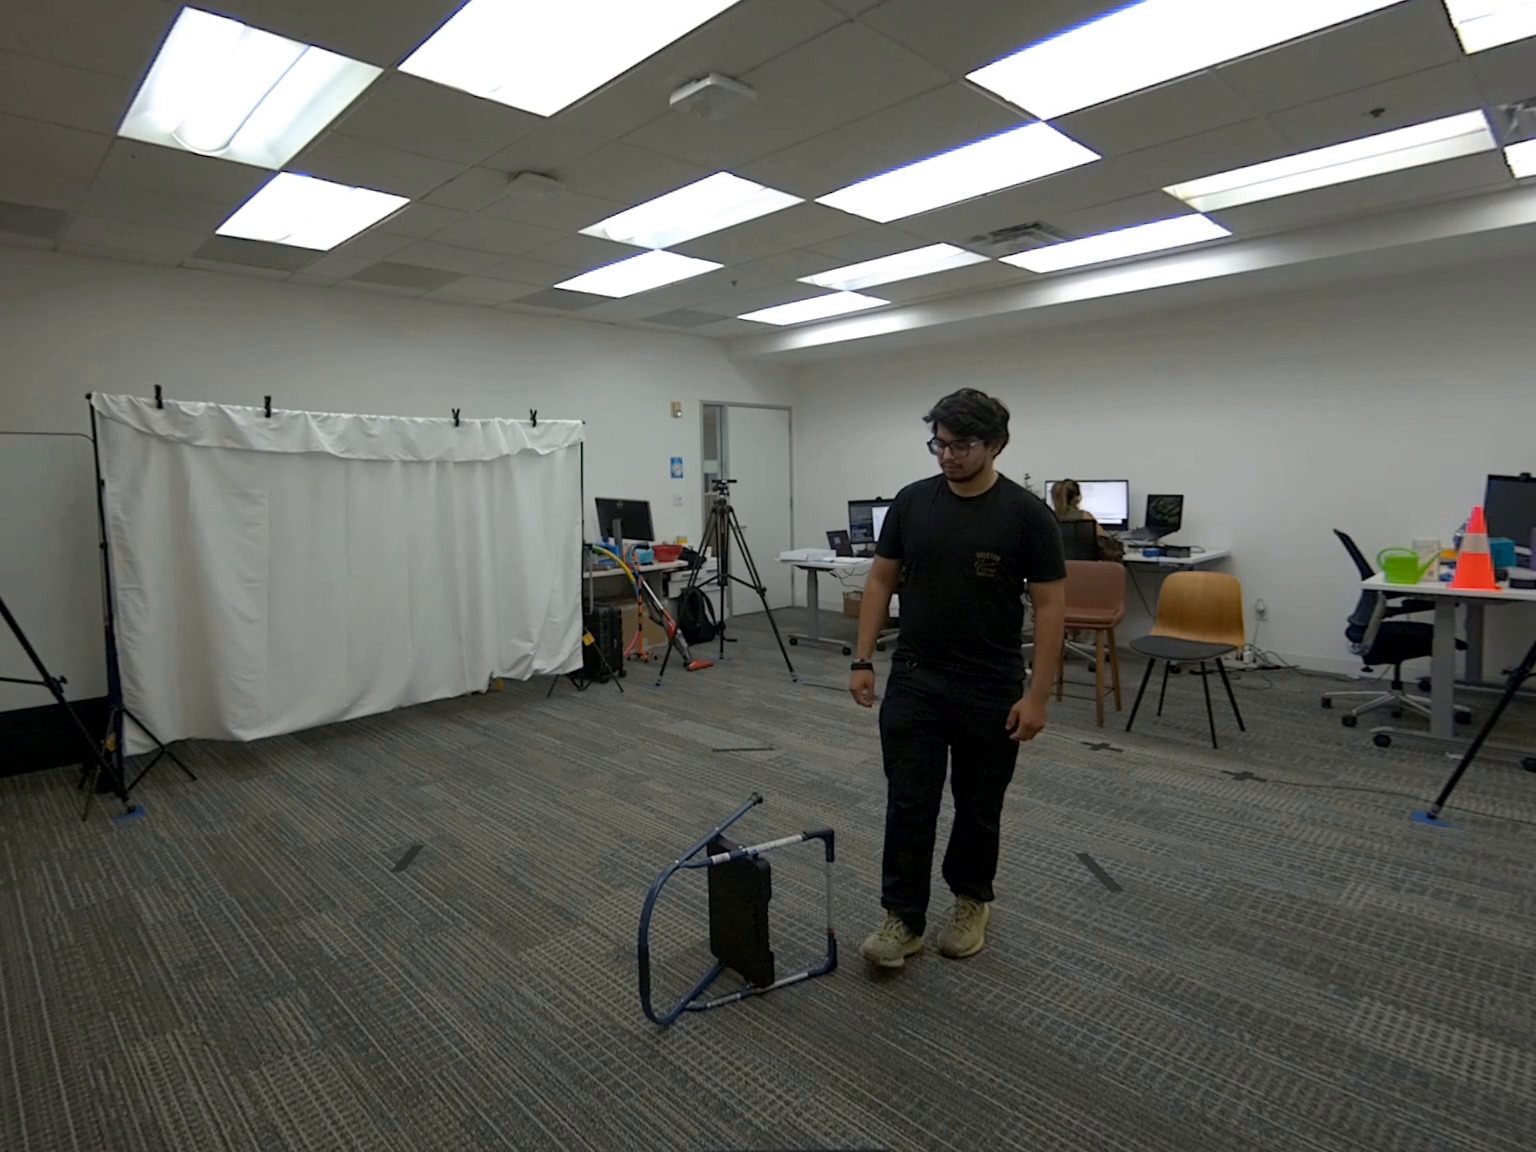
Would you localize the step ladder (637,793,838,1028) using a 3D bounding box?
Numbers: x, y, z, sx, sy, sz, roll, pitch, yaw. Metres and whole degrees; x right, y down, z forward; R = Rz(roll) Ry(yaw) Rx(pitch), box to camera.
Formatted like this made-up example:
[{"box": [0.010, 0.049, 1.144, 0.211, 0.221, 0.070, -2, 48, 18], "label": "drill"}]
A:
[{"box": [-0.135, 0.930, 2.353, 0.591, 0.428, 0.360, -8, 8, -41], "label": "step ladder"}]
